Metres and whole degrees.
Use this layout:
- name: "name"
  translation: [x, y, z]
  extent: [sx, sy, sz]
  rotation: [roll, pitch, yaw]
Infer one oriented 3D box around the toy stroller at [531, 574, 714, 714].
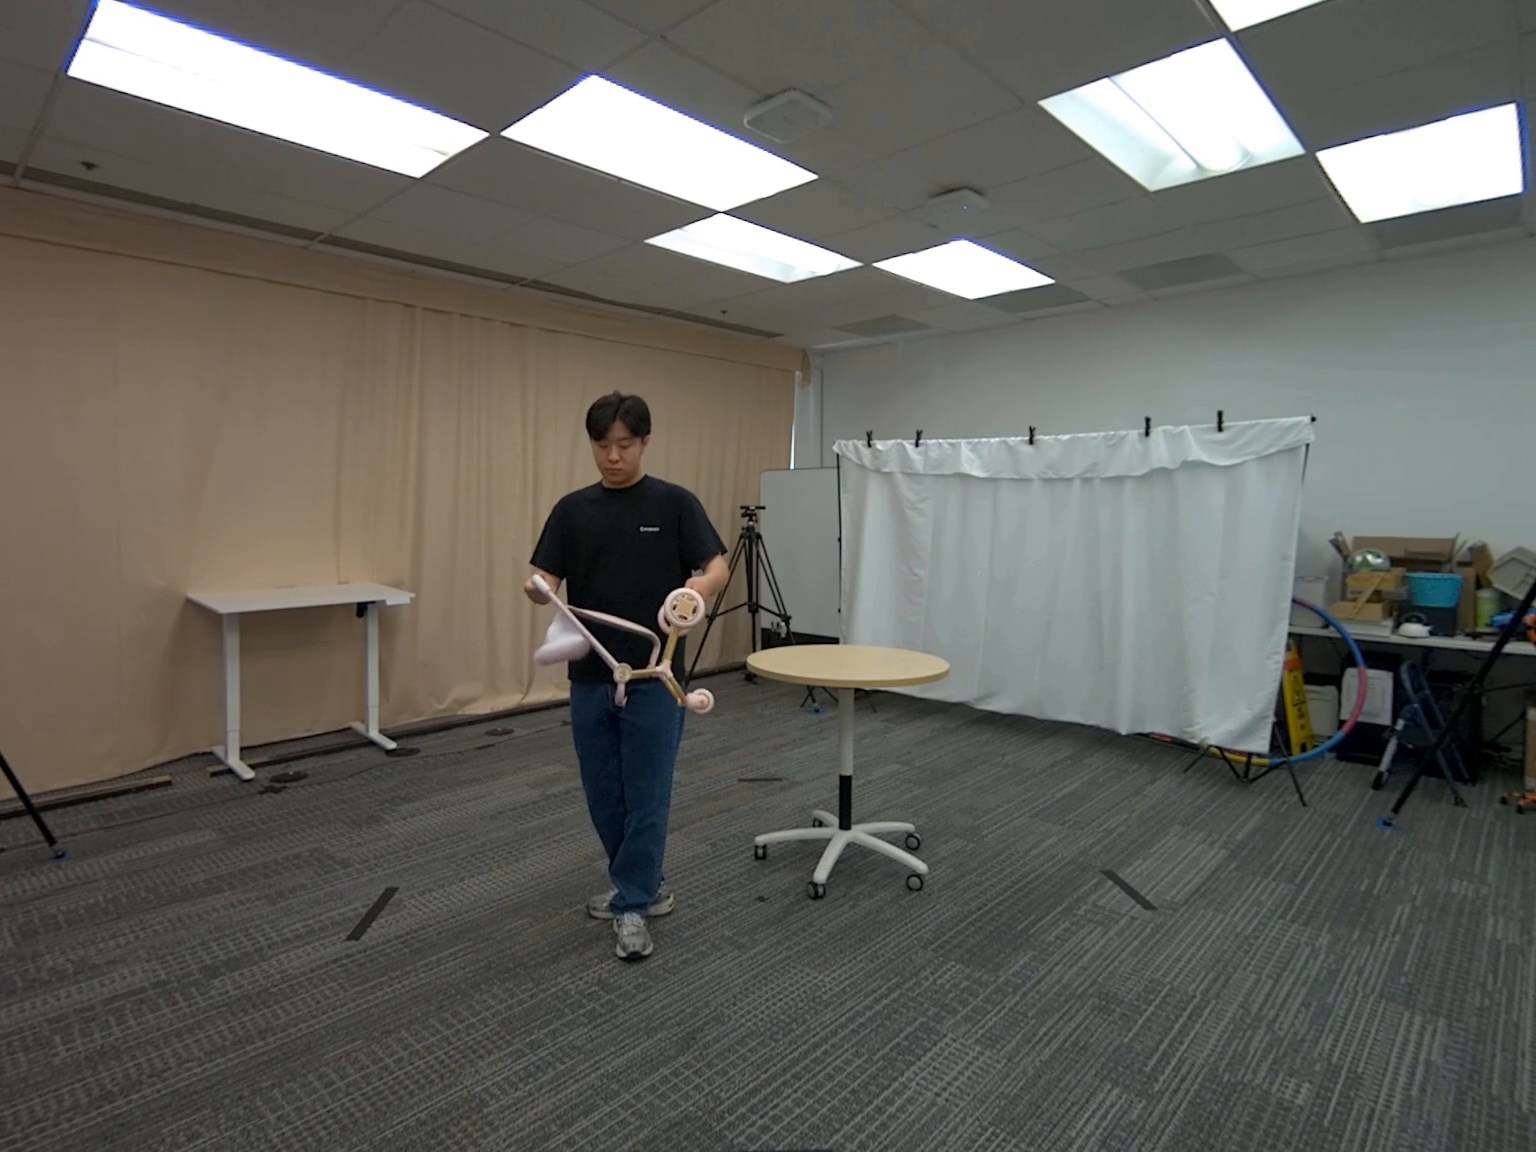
- name: "toy stroller"
  translation: [-0.399, 0.194, 2.354]
  extent: [0.532, 0.342, 0.282]
  rotation: [6, -5, -5]
